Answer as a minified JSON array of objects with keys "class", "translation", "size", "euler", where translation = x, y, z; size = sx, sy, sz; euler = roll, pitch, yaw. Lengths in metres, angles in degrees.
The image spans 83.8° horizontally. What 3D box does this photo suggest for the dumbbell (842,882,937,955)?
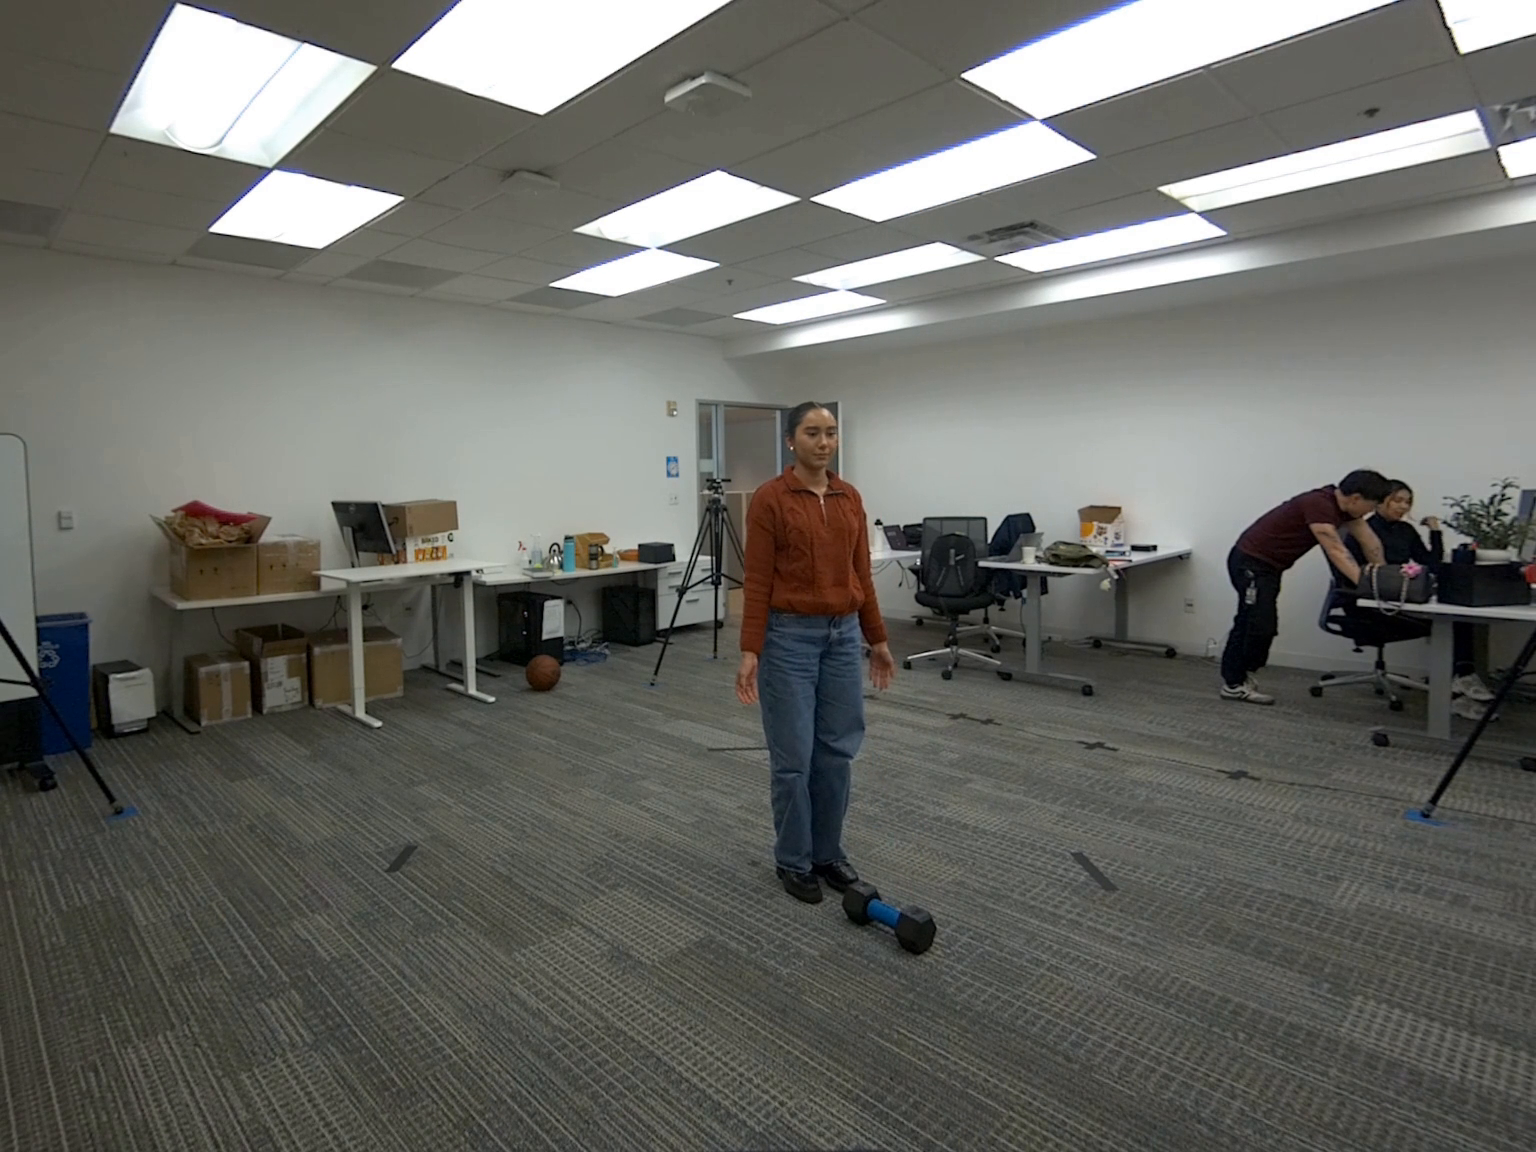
[{"class":"dumbbell","translation":[0.371,1.040,2.610],"size":[0.105,0.124,0.302],"euler":[34,-18,-37]}]
